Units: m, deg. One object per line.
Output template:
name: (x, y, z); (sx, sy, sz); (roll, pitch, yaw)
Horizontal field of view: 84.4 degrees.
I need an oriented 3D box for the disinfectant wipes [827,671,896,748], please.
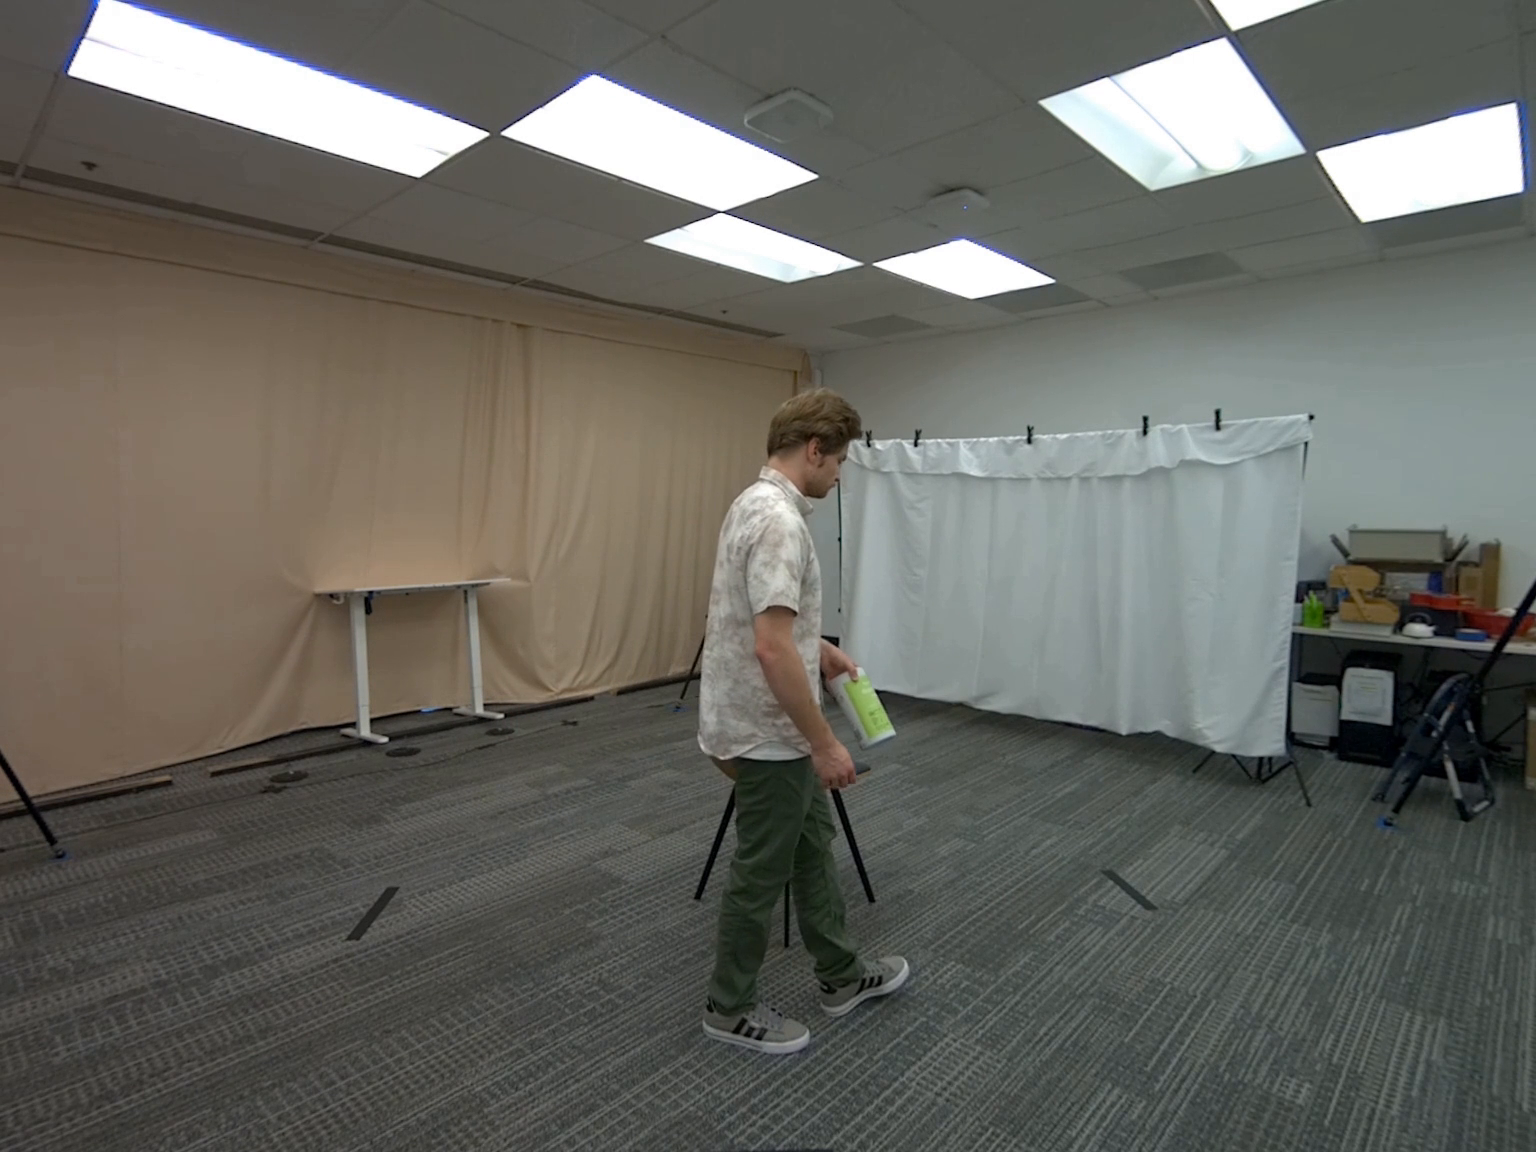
disinfectant wipes: (0.286, 0.388, 2.388); (0.117, 0.221, 0.116); (-23, -17, -9)
